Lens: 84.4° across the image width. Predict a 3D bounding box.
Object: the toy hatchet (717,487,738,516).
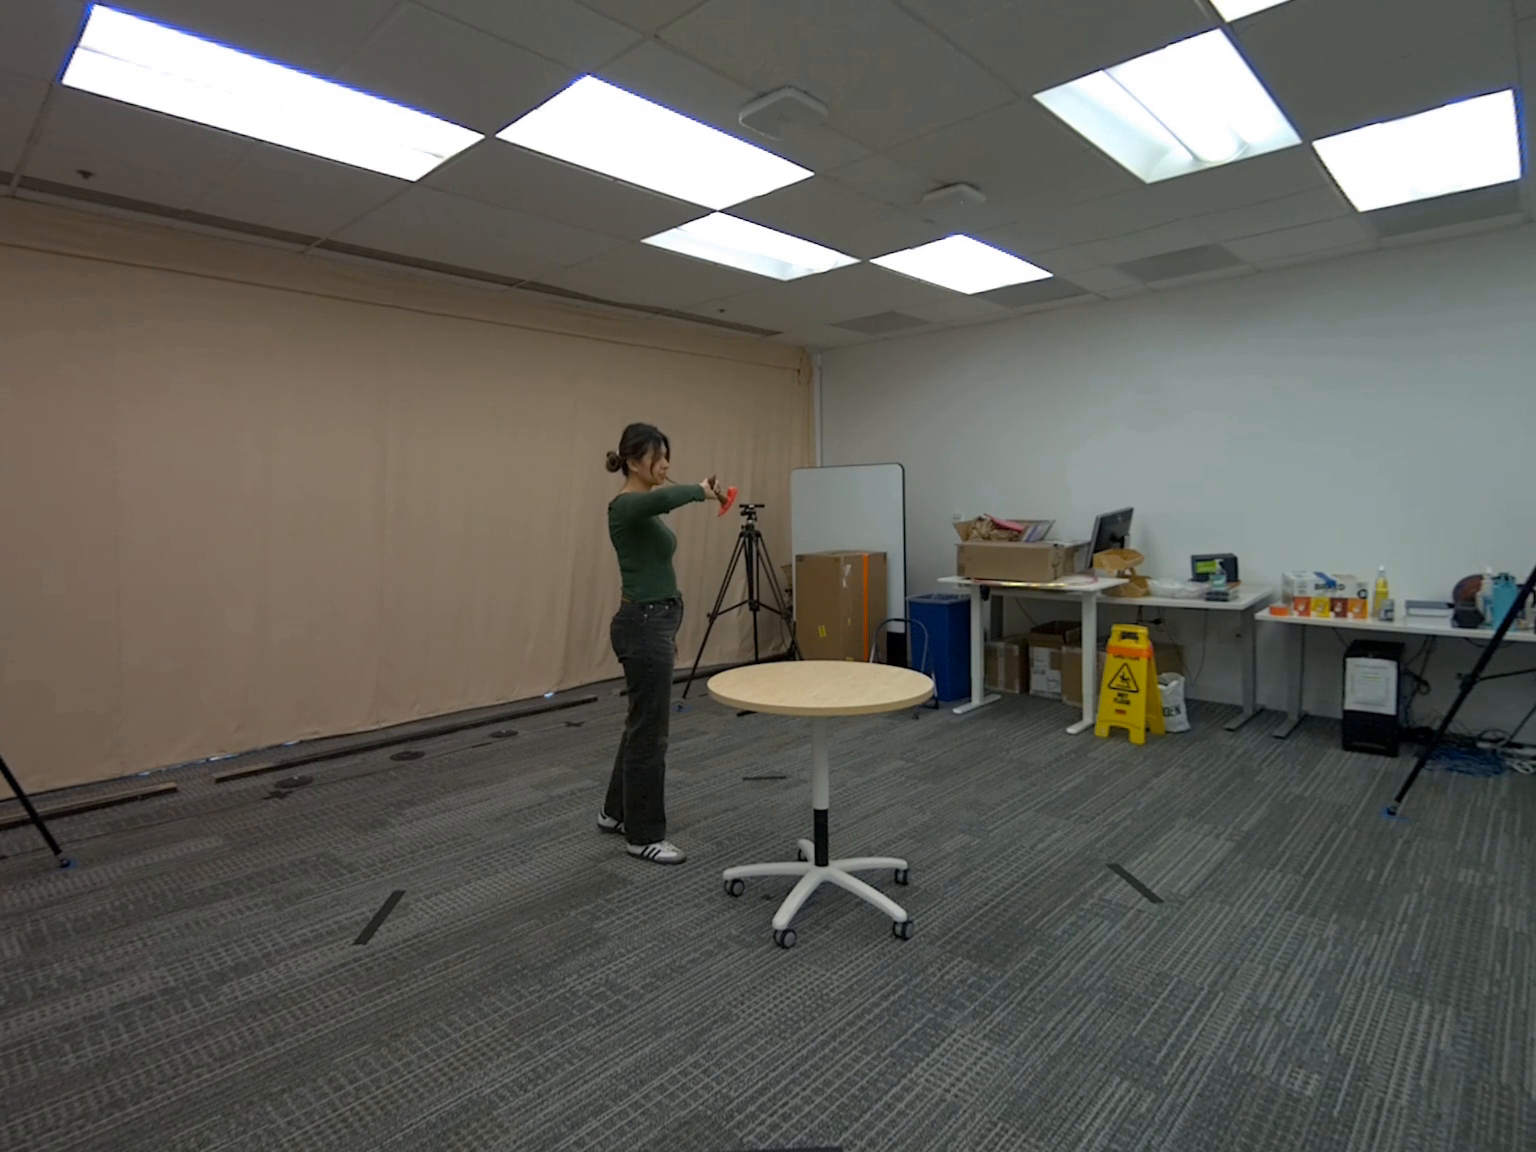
[{"bbox_3d":[-0.168,-0.339,3.293,0.030,0.130,0.265,34,-19,18],"label":"toy hatchet"}]
